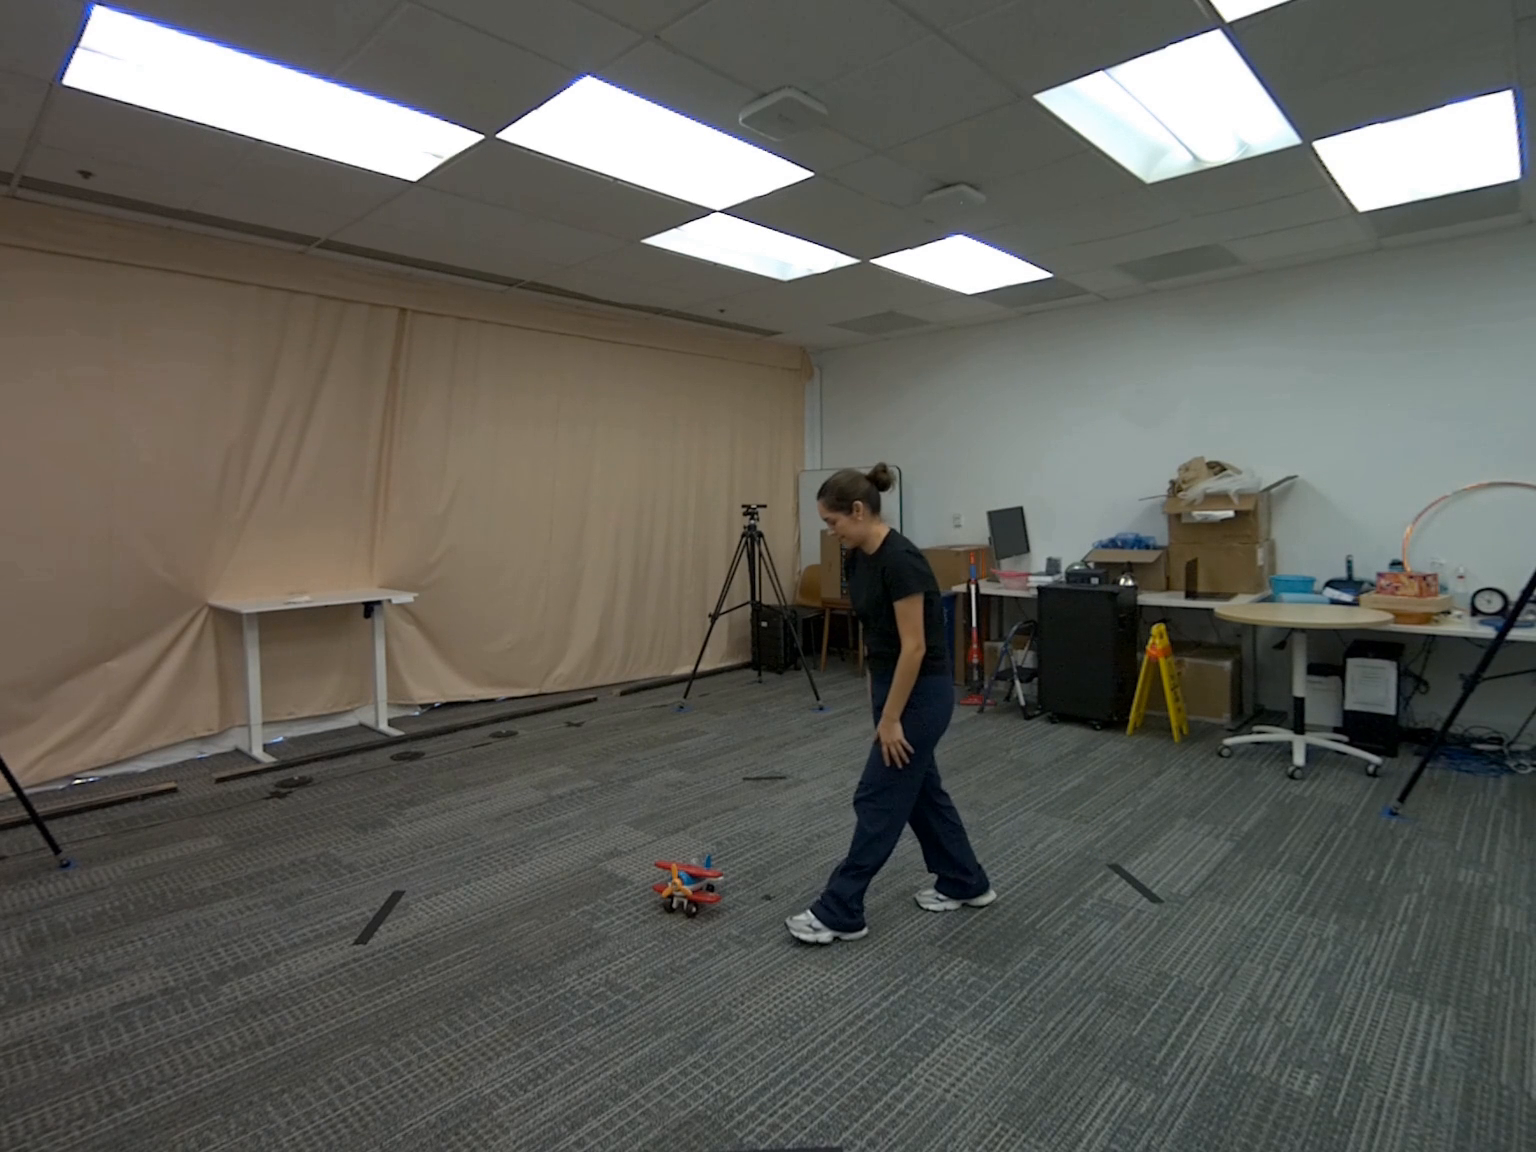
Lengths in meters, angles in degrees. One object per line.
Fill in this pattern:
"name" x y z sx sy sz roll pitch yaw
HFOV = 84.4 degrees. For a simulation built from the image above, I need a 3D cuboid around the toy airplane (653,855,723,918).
"toy airplane" -0.265 1.077 2.953 0.250 0.156 0.261 -2 7 -3
